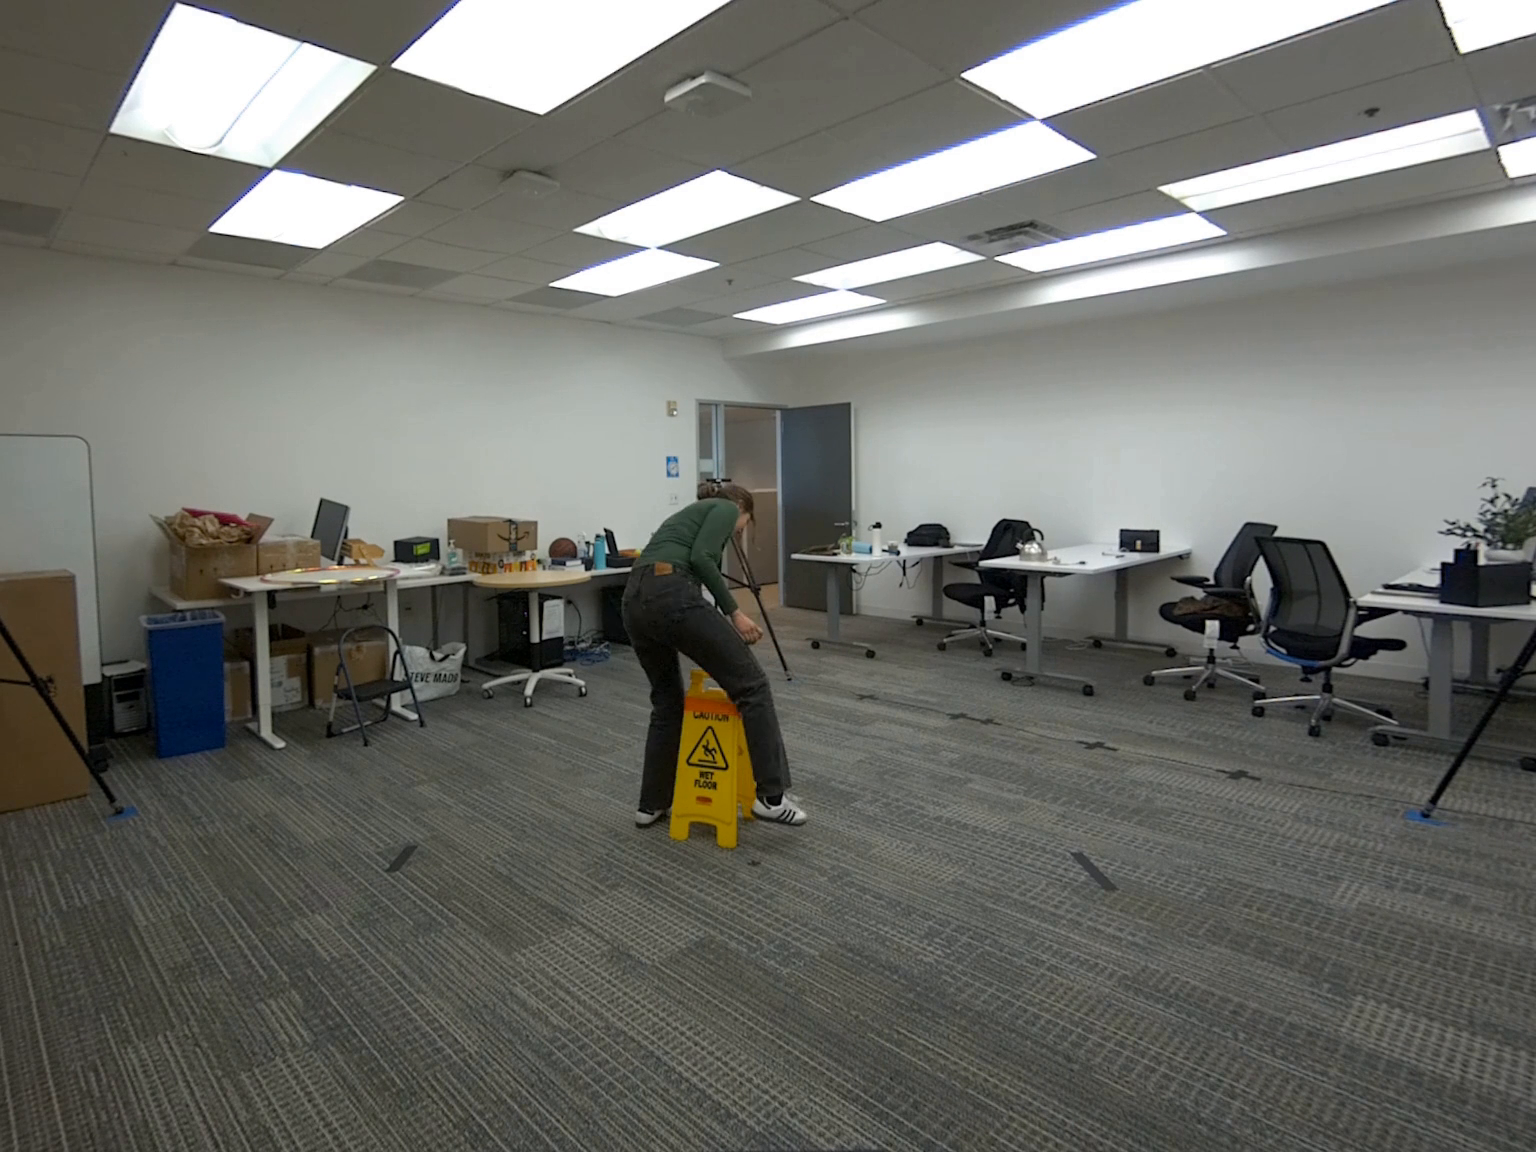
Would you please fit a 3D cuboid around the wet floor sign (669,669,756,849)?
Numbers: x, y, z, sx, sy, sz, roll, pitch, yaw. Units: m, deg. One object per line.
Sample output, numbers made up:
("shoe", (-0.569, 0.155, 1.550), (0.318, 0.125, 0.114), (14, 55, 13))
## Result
("wet floor sign", (-0.212, 0.693, 3.399), (0.288, 0.643, 0.285), (0, 4, 20))
